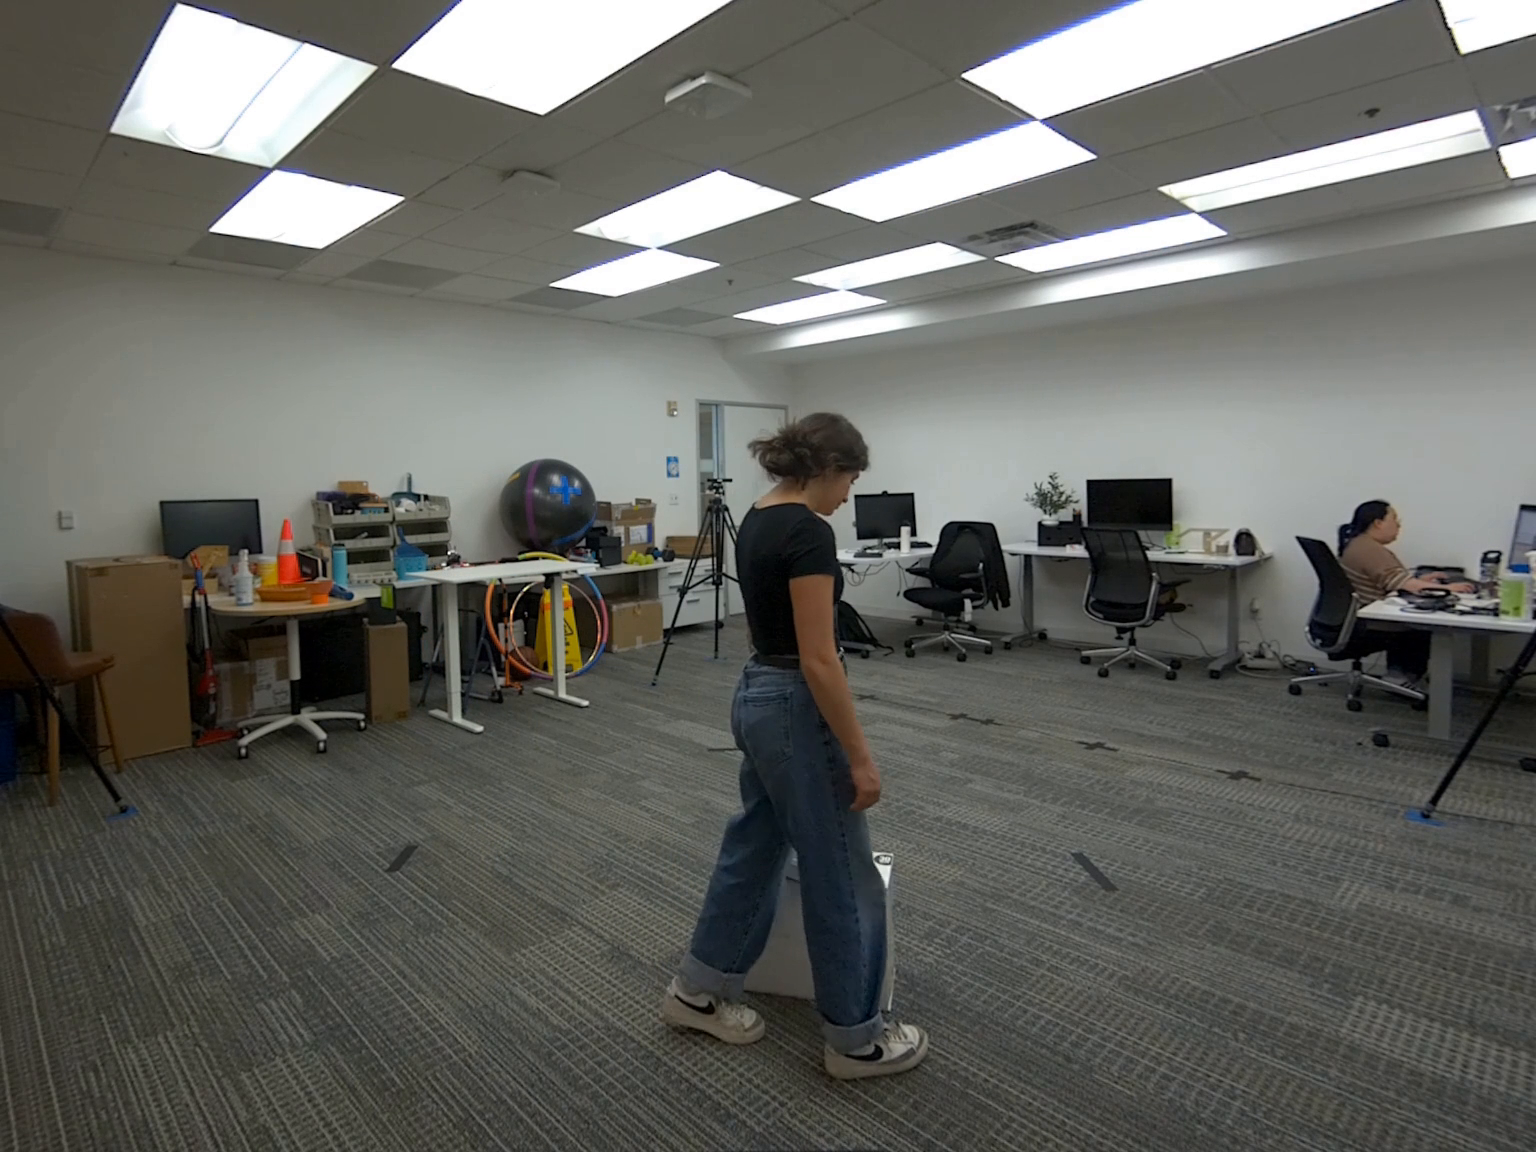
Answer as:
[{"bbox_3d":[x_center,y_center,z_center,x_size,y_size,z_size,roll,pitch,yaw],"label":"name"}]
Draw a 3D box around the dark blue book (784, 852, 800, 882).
[{"bbox_3d":[0.125,0.767,2.372,0.168,0.045,0.239,5,11,39],"label":"dark blue book"}]
